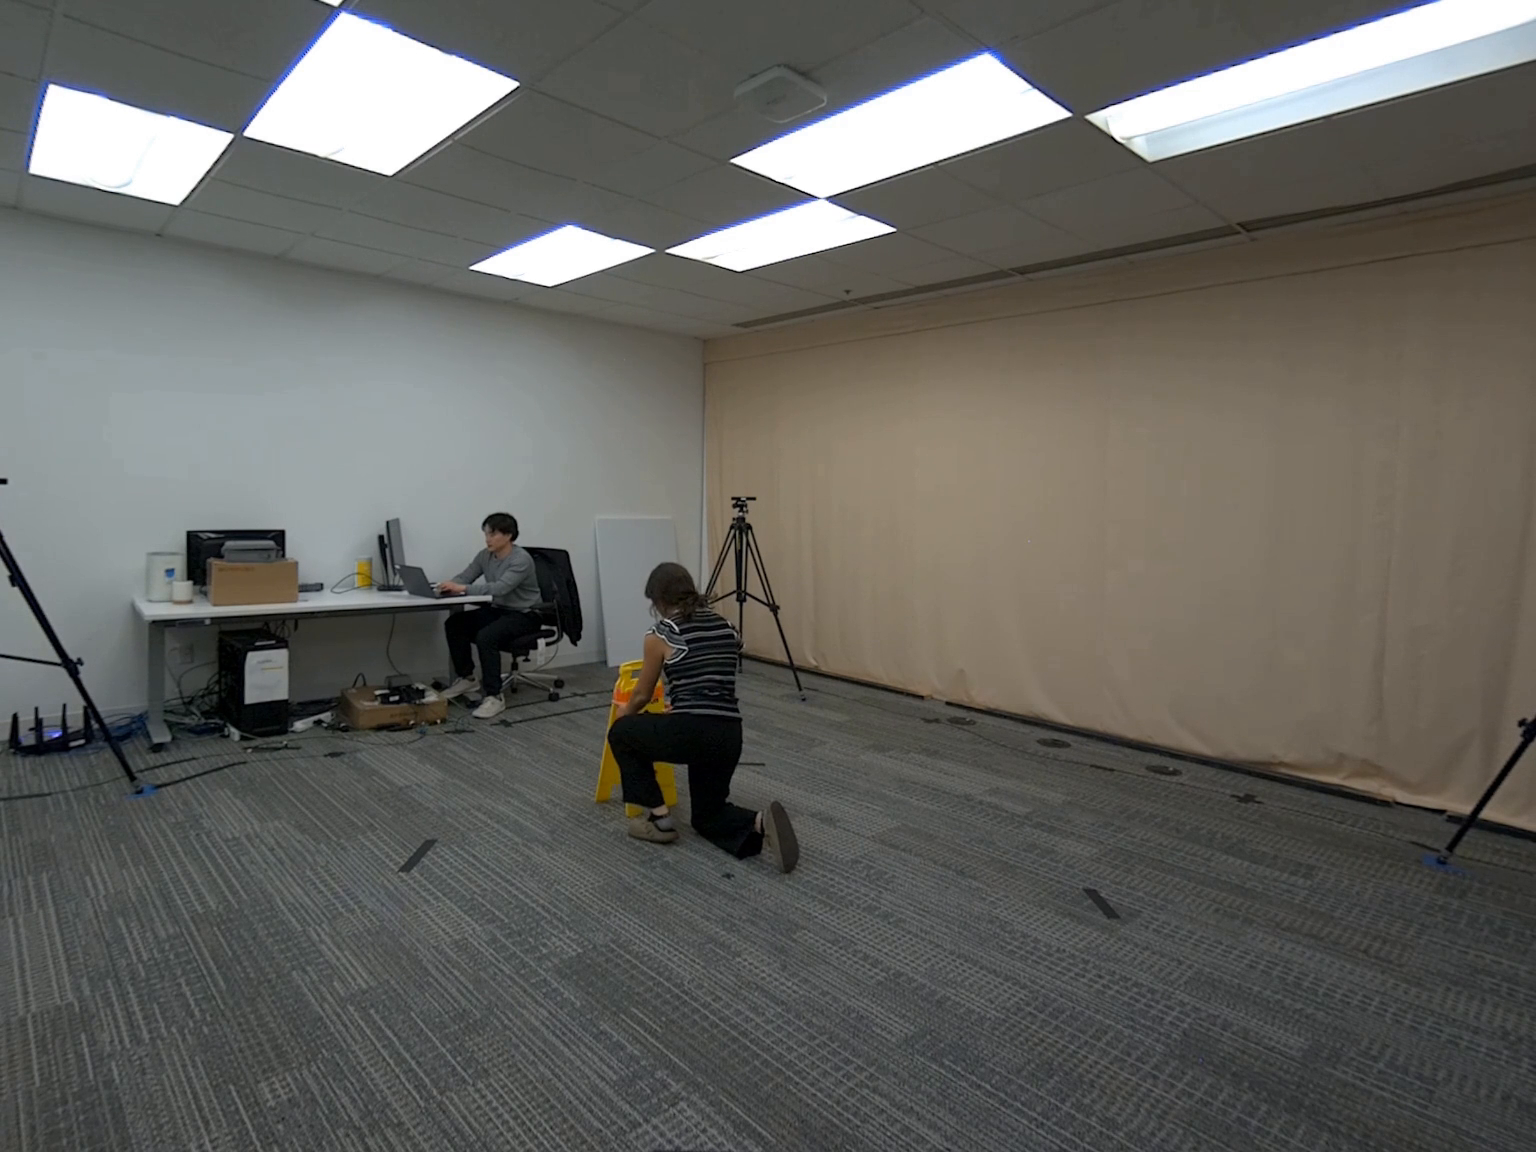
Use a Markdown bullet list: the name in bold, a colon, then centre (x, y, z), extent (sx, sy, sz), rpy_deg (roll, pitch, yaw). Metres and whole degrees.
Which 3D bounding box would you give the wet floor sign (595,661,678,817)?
- **wet floor sign**: centre (-0.602, 0.713, 3.815), extent (0.297, 0.645, 0.276), rpy_deg (3, 3, 44)
